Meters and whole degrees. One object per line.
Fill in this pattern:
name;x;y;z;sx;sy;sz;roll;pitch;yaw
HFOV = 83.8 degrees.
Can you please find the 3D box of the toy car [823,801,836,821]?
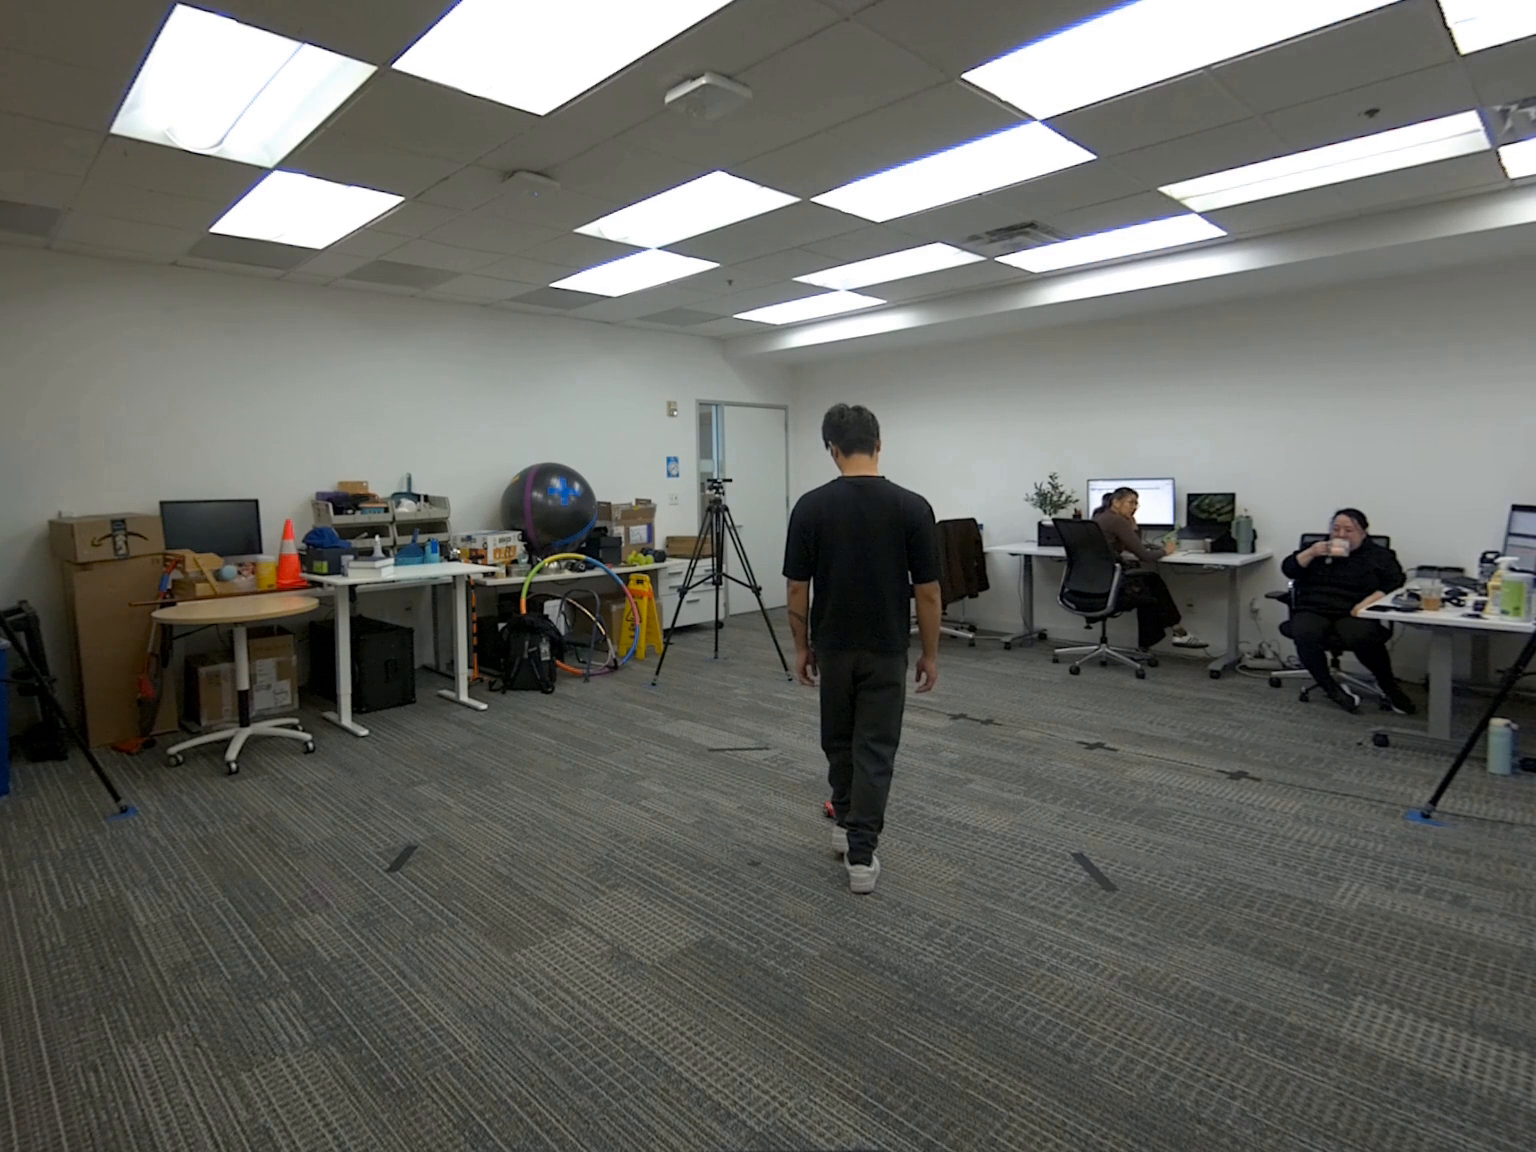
toy car;0.338;0.969;3.459;0.128;0.083;0.258;-3;-4;-22
